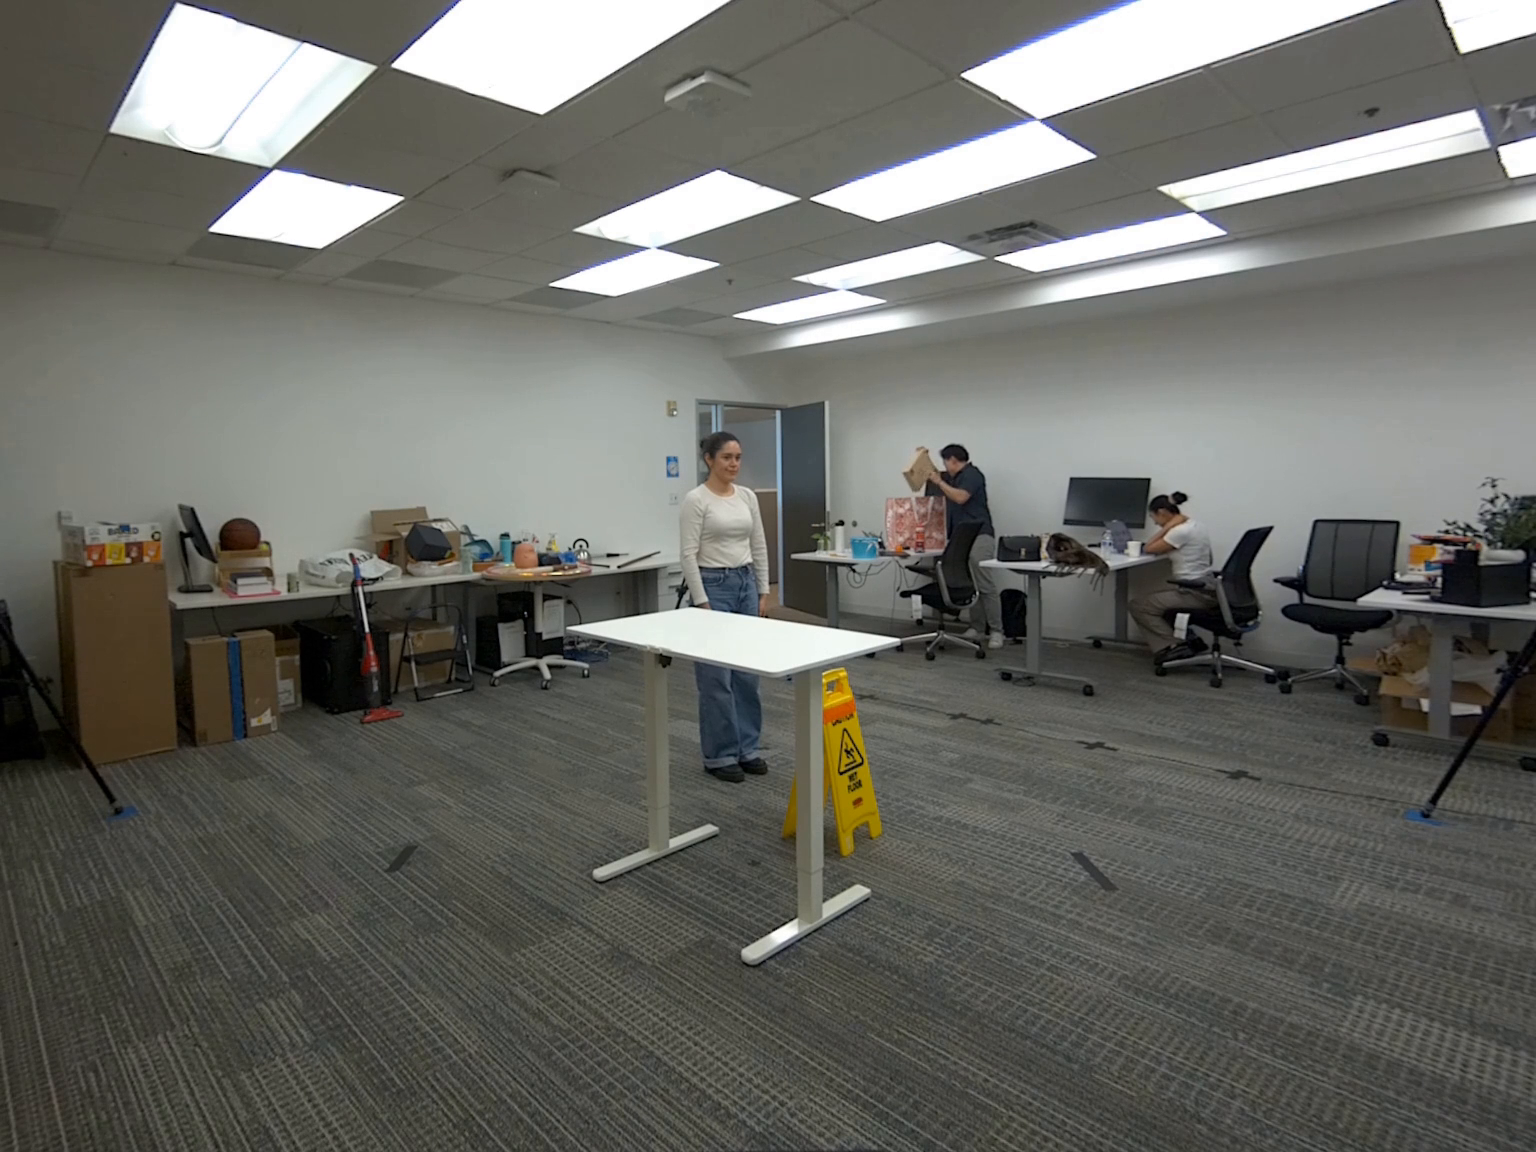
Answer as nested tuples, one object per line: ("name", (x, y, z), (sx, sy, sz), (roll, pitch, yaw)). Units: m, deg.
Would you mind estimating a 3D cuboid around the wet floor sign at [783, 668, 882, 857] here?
("wet floor sign", (0.246, 0.694, 3.320), (0.298, 0.644, 0.275), (2, 4, 39))
